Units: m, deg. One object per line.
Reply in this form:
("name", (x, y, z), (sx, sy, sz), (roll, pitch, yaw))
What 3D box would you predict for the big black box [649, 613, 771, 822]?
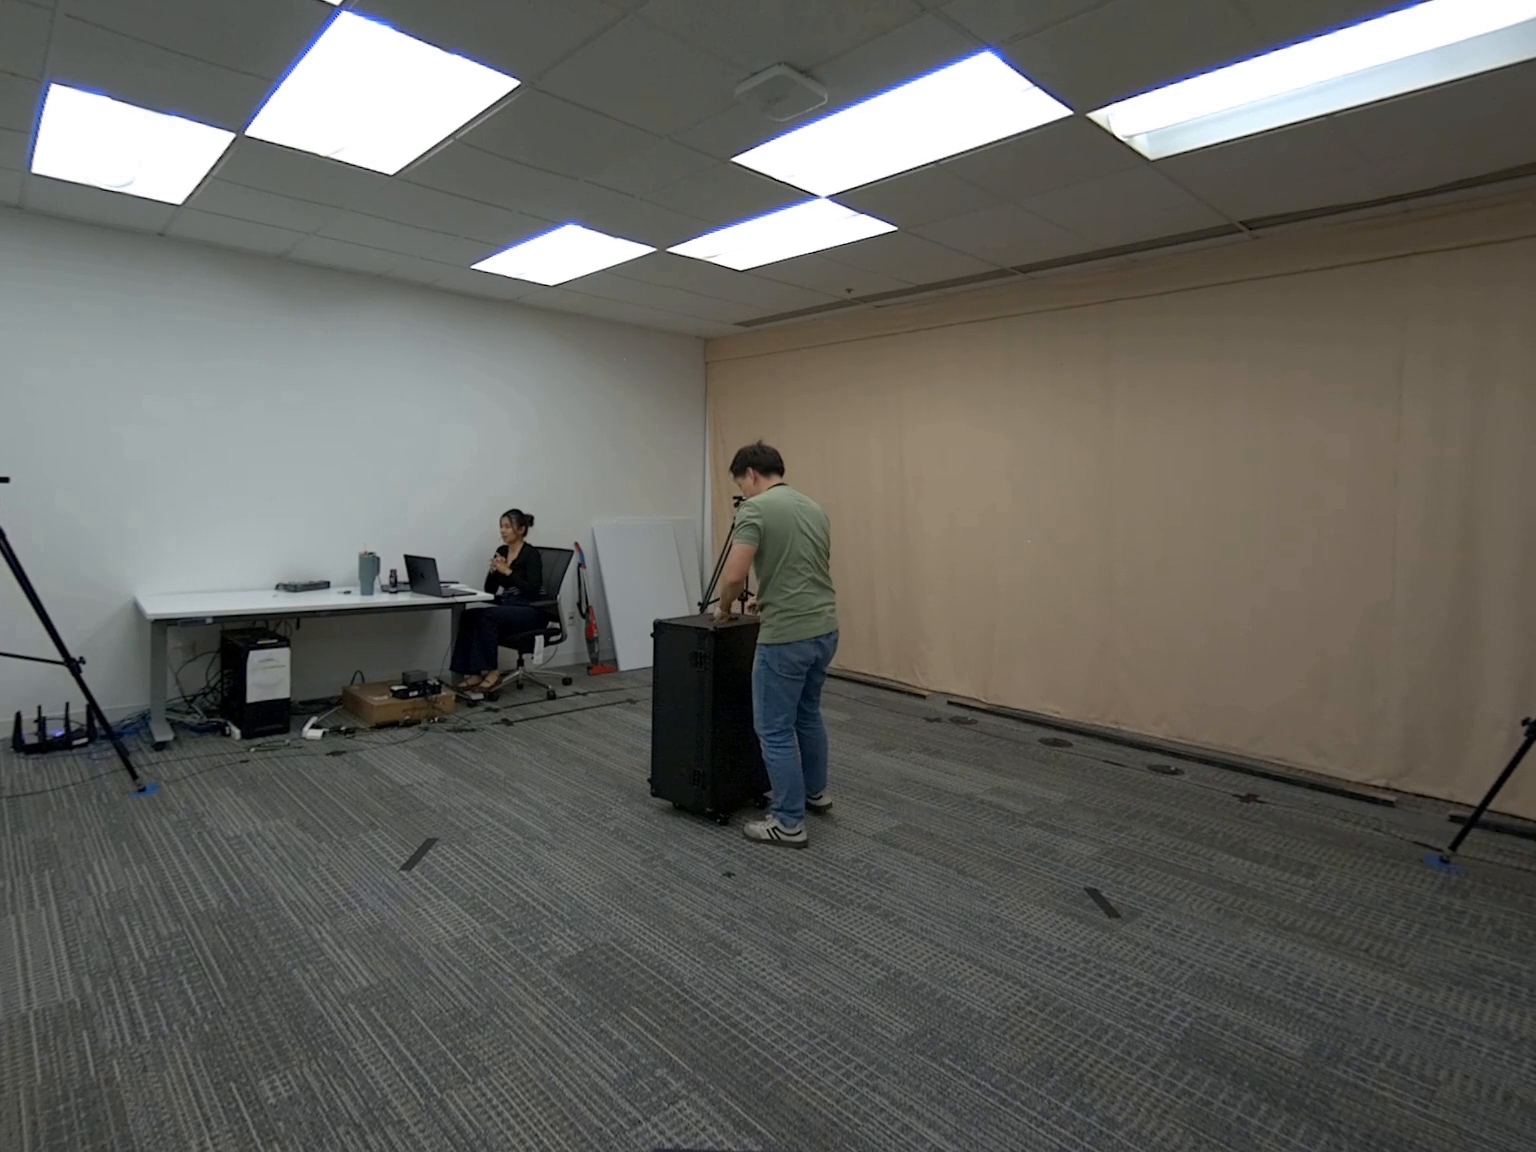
("big black box", (-0.247, 0.617, 3.779), (0.406, 0.860, 0.510), (3, 4, 39))
